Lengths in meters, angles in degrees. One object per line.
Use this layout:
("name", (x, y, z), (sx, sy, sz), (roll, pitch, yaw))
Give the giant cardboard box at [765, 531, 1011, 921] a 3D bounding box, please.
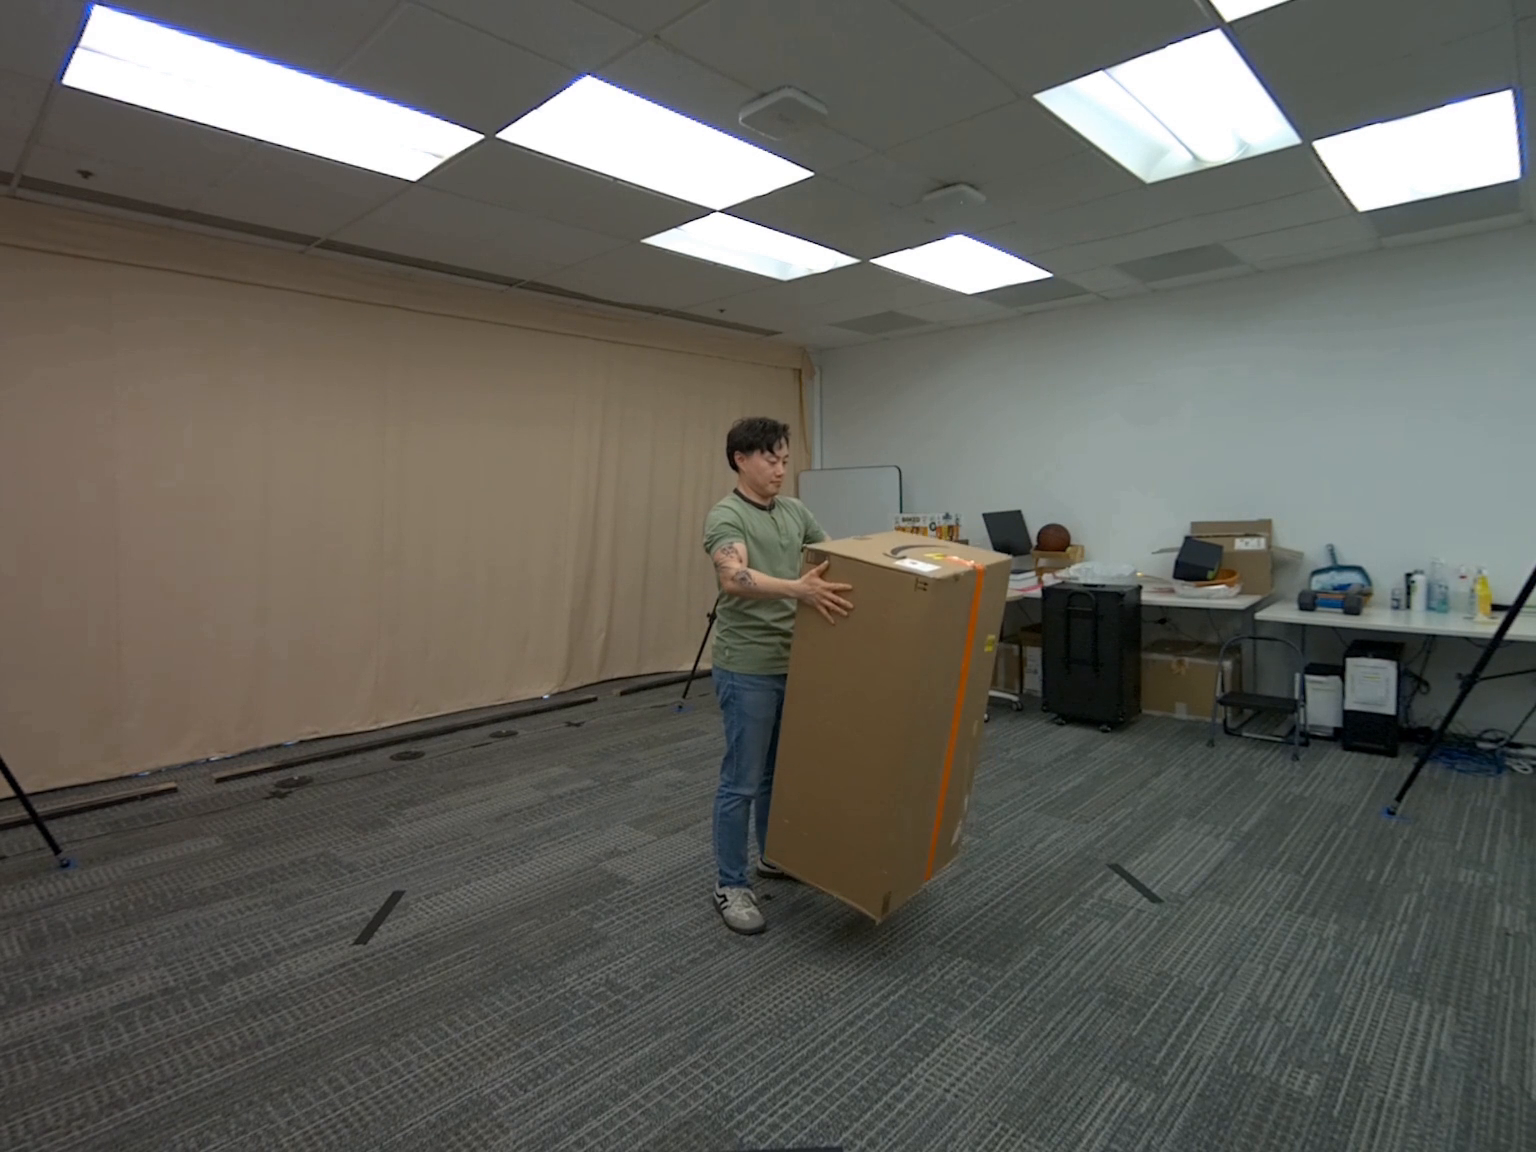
("giant cardboard box", (0.387, 0.421, 2.647), (0.441, 1.020, 0.561), (15, 14, 35))
